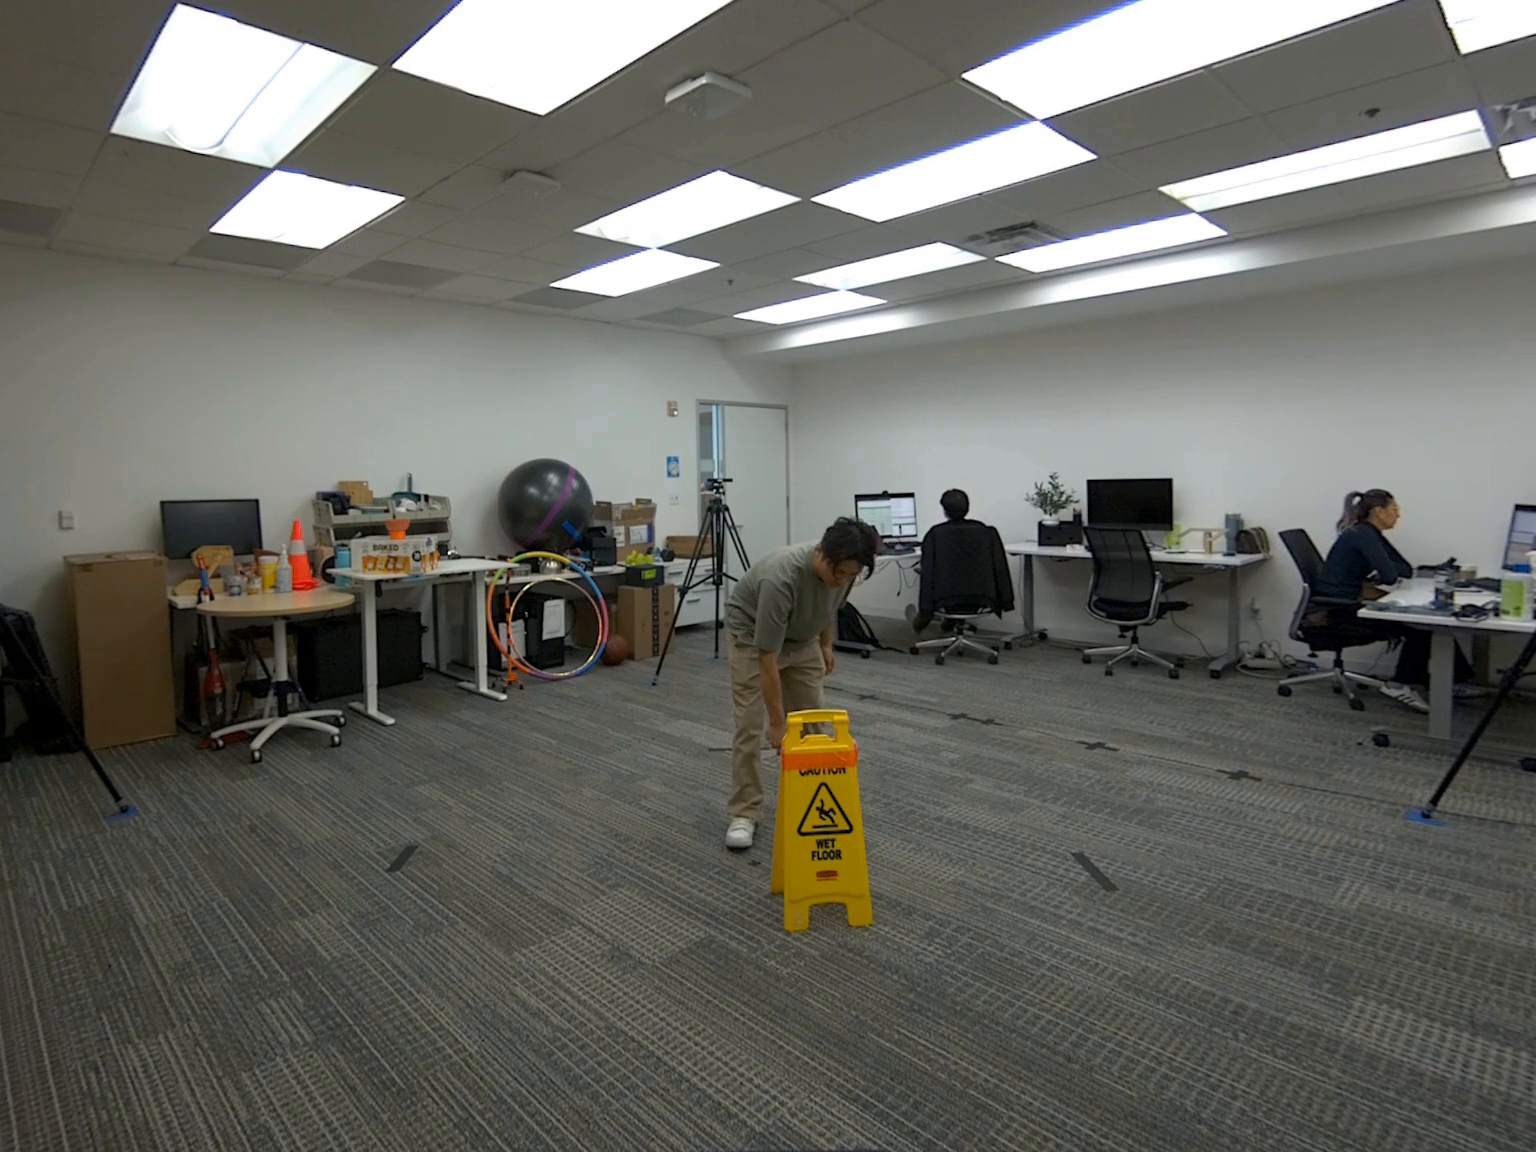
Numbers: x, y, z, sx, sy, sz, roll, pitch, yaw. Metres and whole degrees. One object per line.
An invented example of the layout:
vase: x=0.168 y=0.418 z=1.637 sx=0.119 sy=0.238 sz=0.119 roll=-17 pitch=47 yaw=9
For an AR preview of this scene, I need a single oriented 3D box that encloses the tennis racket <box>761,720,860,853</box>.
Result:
tennis racket: x=0.132 y=0.787 z=3.225 sx=0.214 sy=0.437 sz=0.031 roll=-33 pitch=-7 yaw=5
